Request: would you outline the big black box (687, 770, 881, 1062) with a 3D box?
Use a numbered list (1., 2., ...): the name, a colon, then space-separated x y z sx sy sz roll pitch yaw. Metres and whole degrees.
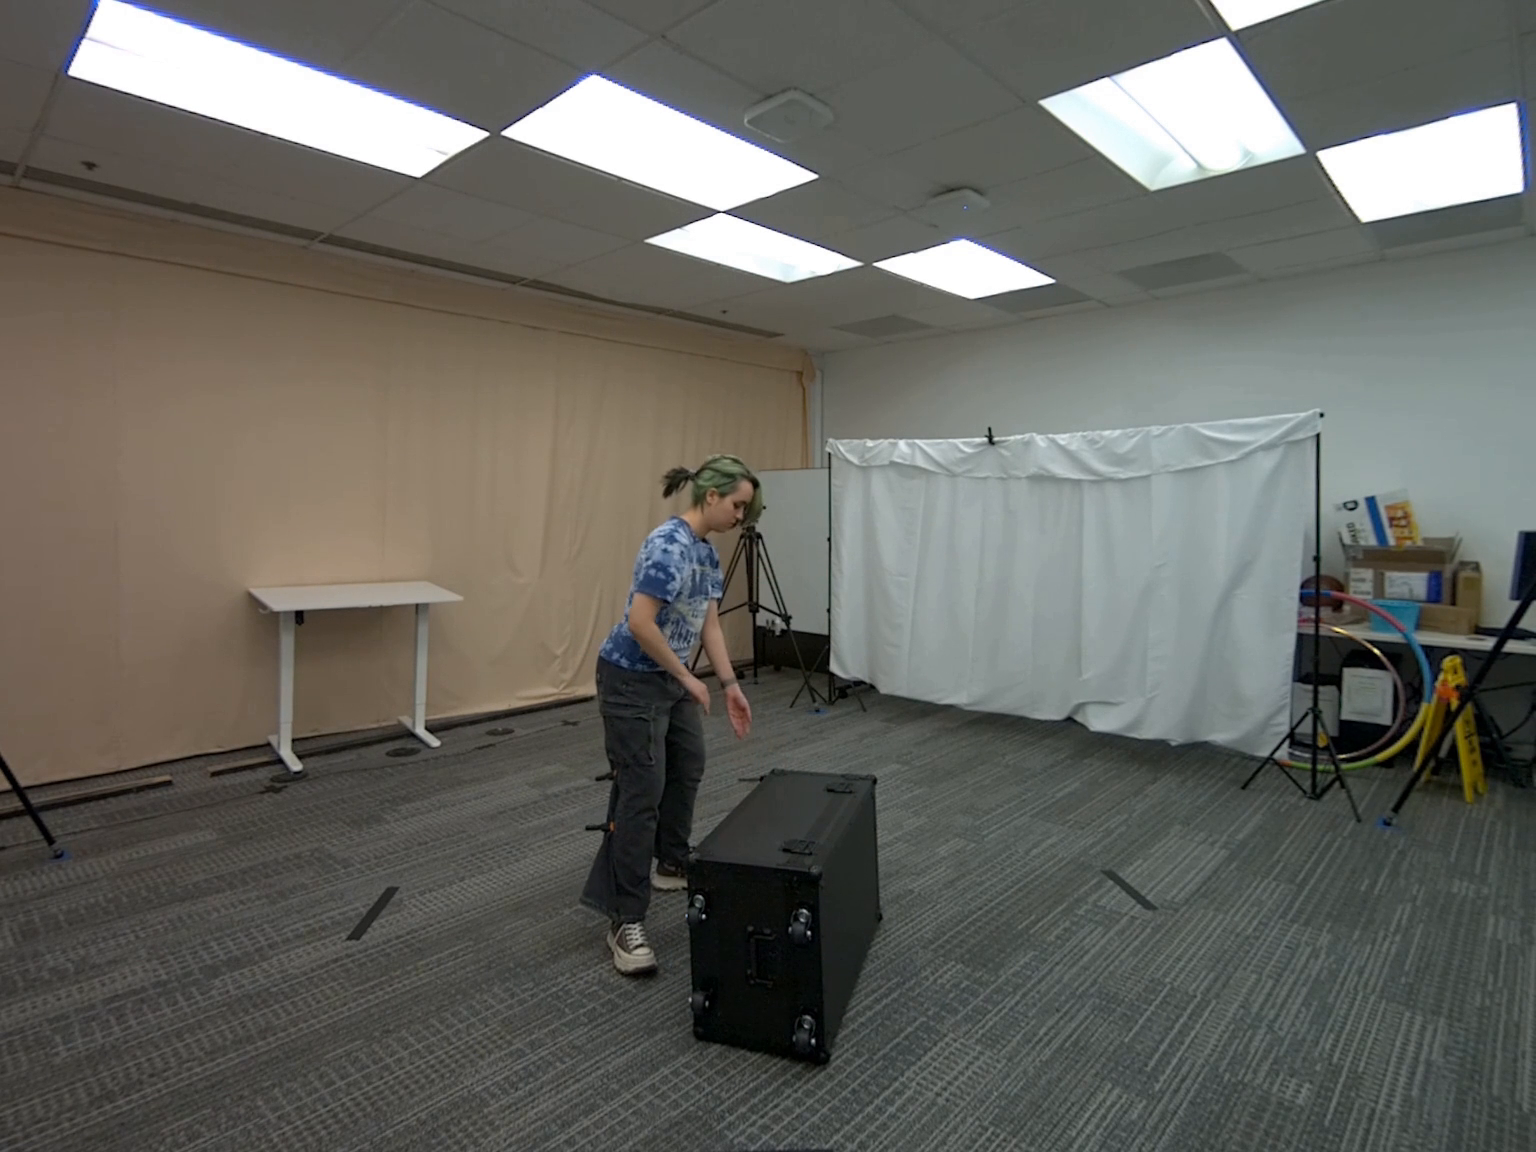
1. big black box: 0.059 0.930 2.462 0.404 0.520 0.846 -2 3 18
